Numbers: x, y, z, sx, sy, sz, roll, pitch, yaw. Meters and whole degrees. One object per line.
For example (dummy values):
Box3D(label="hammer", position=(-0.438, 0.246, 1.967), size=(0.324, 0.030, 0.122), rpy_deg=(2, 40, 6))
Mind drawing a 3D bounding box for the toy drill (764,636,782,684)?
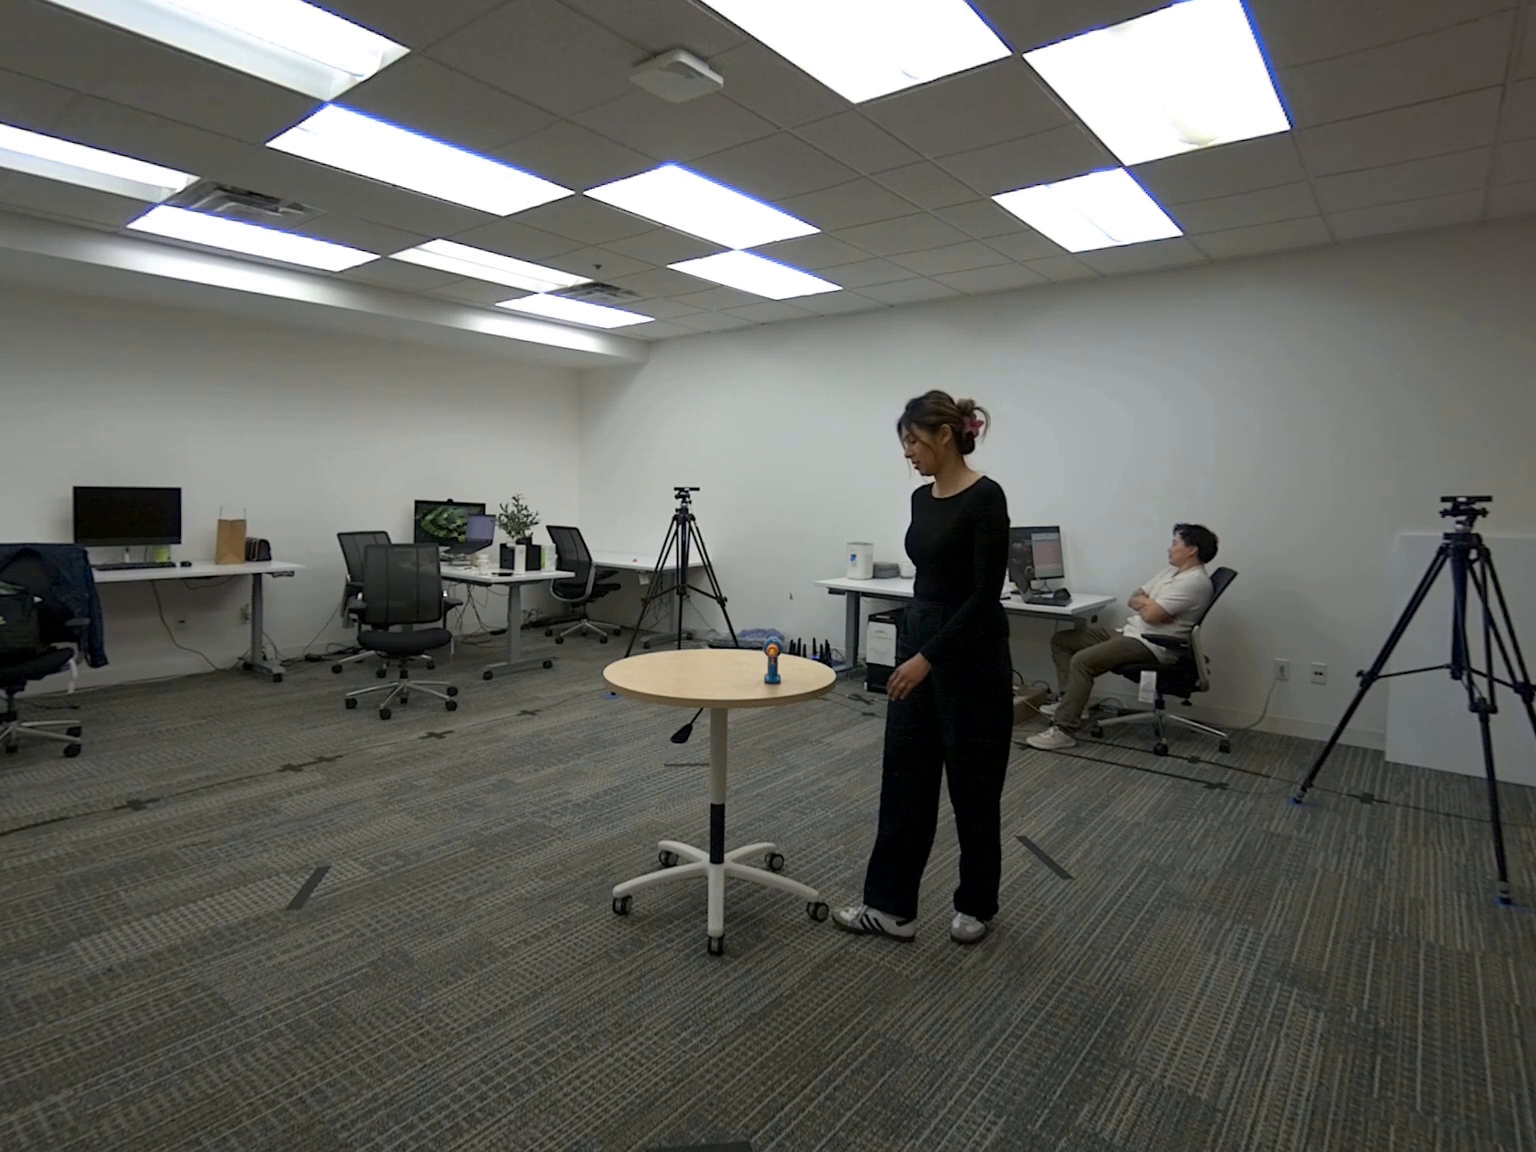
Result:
Box3D(label="toy drill", position=(0.011, 0.261, 2.620), size=(0.061, 0.145, 0.171), rpy_deg=(1, 4, -5))
